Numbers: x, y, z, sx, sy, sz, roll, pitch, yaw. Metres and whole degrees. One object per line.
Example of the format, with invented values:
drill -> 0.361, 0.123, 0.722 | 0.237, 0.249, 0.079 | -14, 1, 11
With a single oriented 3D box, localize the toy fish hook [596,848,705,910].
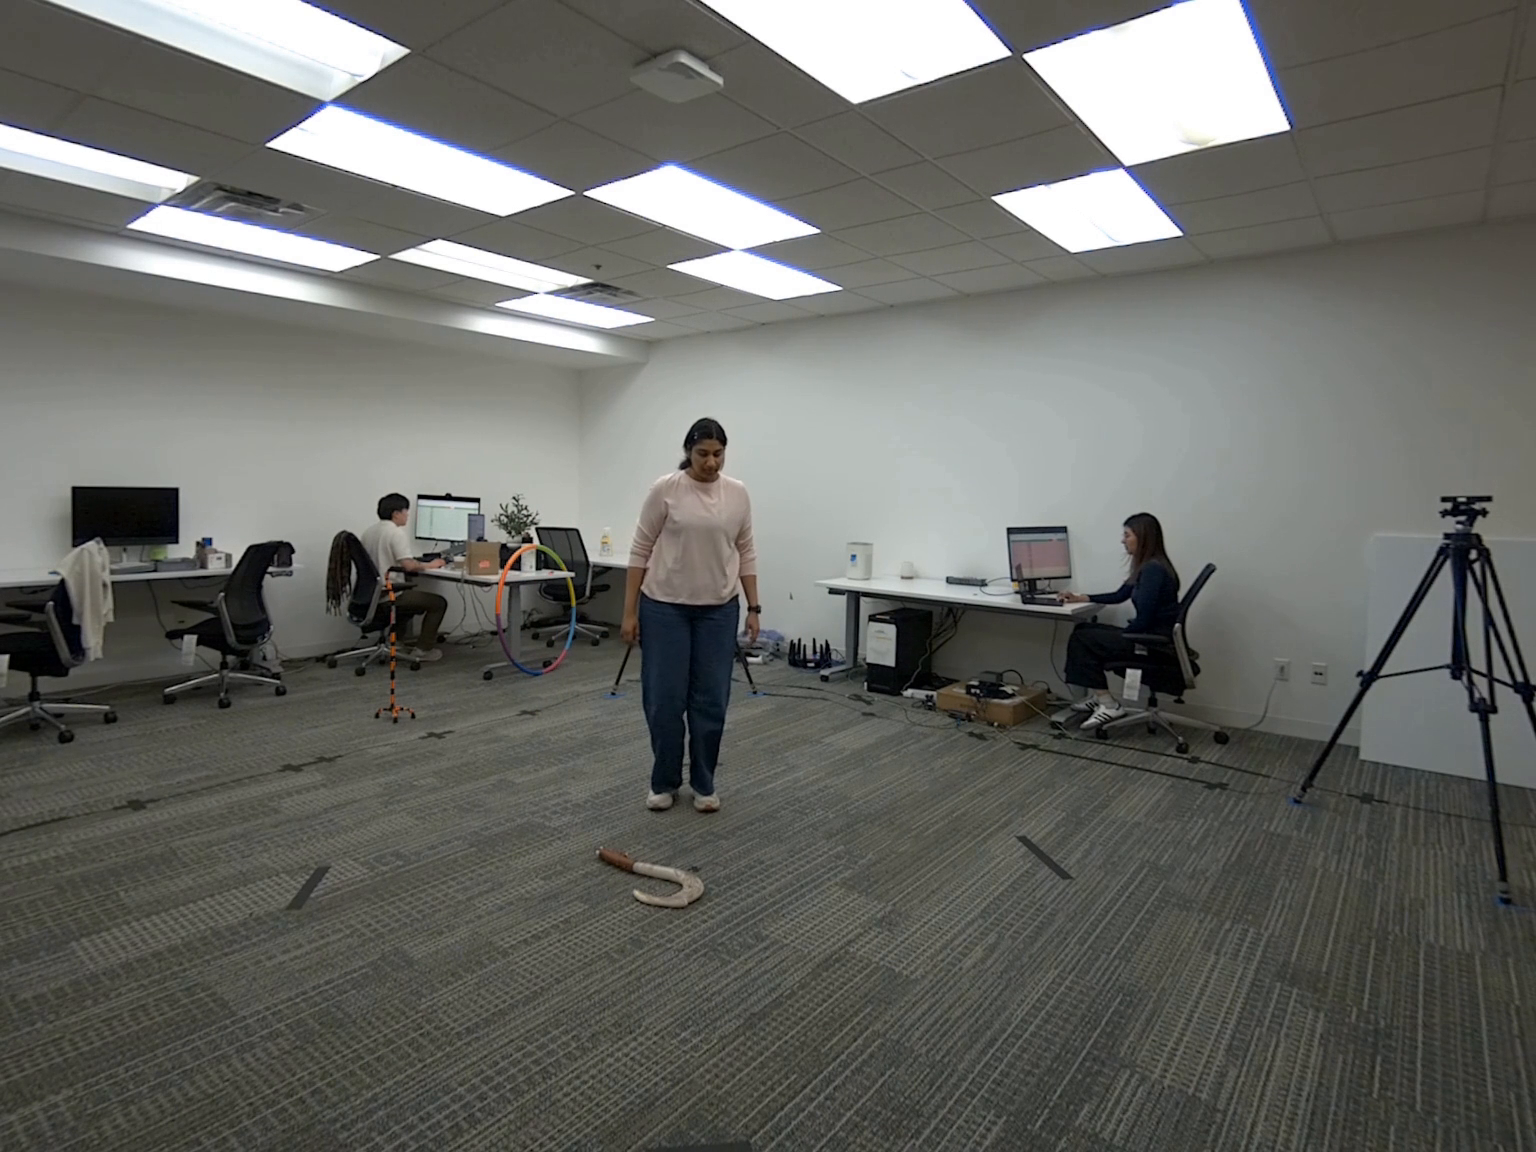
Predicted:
toy fish hook -> -0.465, 1.052, 2.988 | 0.523, 0.048, 0.218 | 4, 5, 36
